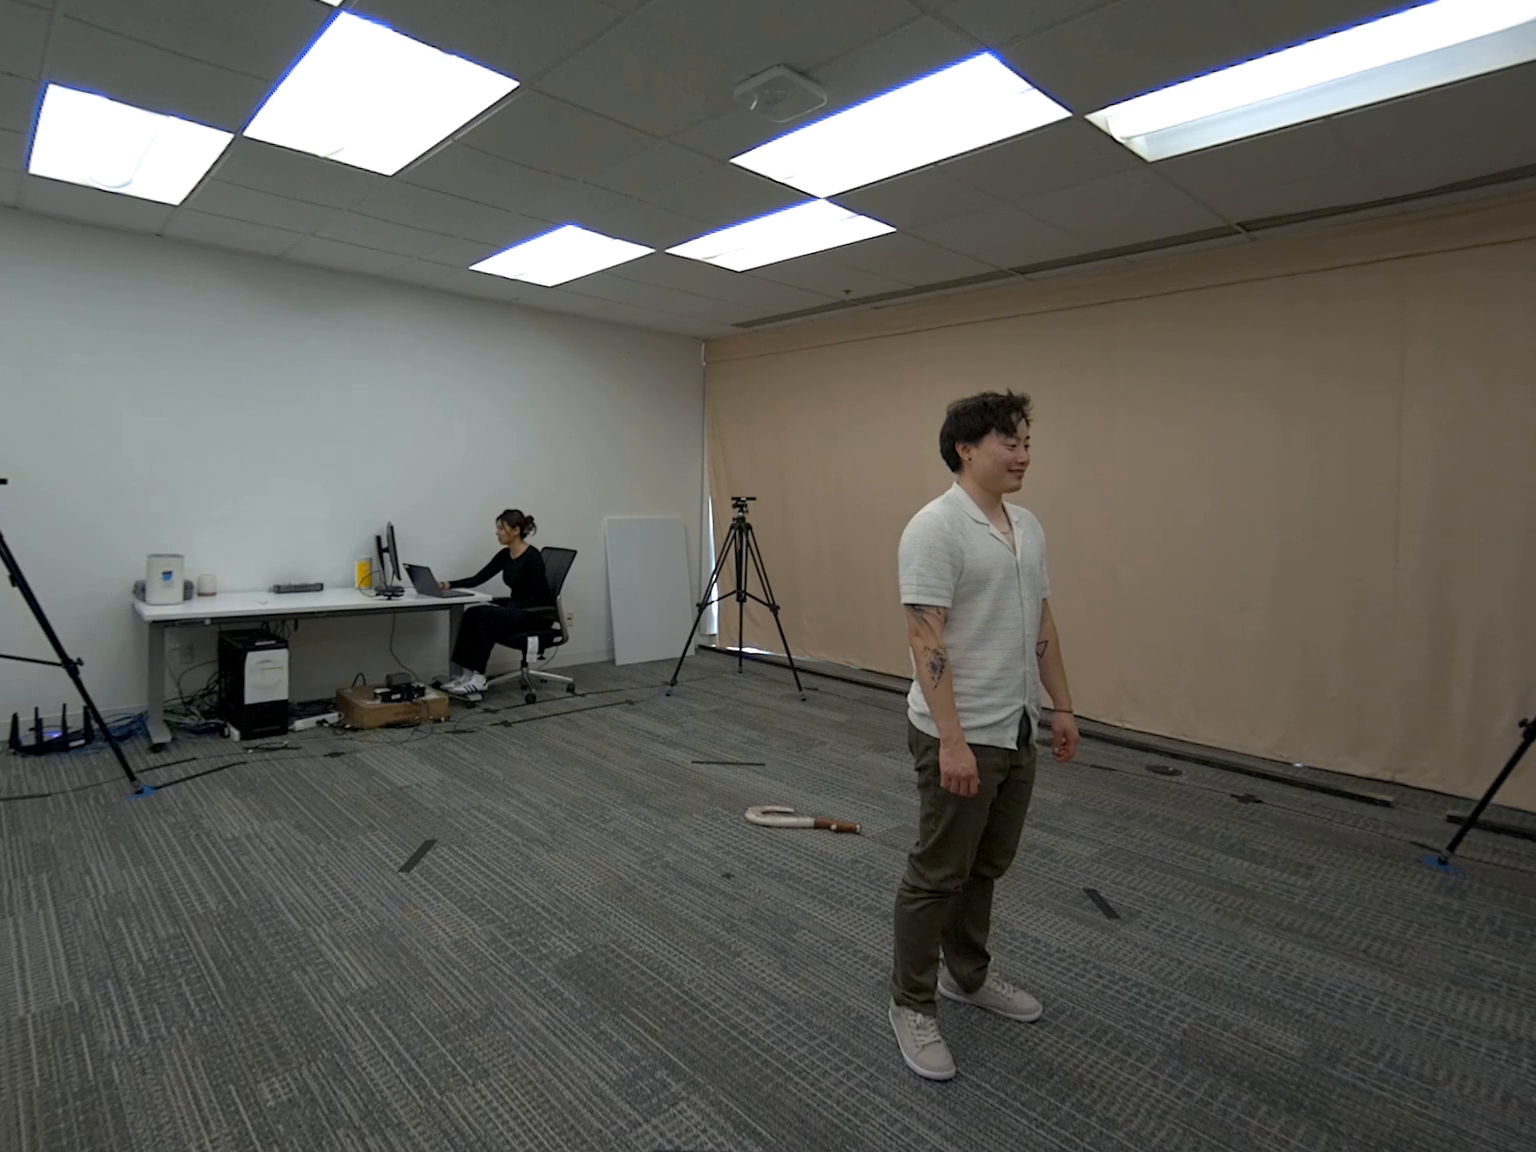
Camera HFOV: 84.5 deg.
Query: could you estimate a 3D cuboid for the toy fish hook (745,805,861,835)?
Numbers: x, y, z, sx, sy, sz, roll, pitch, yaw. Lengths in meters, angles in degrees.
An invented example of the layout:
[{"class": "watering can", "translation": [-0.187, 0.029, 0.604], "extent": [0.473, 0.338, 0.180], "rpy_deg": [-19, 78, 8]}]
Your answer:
[{"class": "toy fish hook", "translation": [0.149, 1.044, 3.643], "extent": [0.512, 0.048, 0.223], "rpy_deg": [3, 6, 14]}]
